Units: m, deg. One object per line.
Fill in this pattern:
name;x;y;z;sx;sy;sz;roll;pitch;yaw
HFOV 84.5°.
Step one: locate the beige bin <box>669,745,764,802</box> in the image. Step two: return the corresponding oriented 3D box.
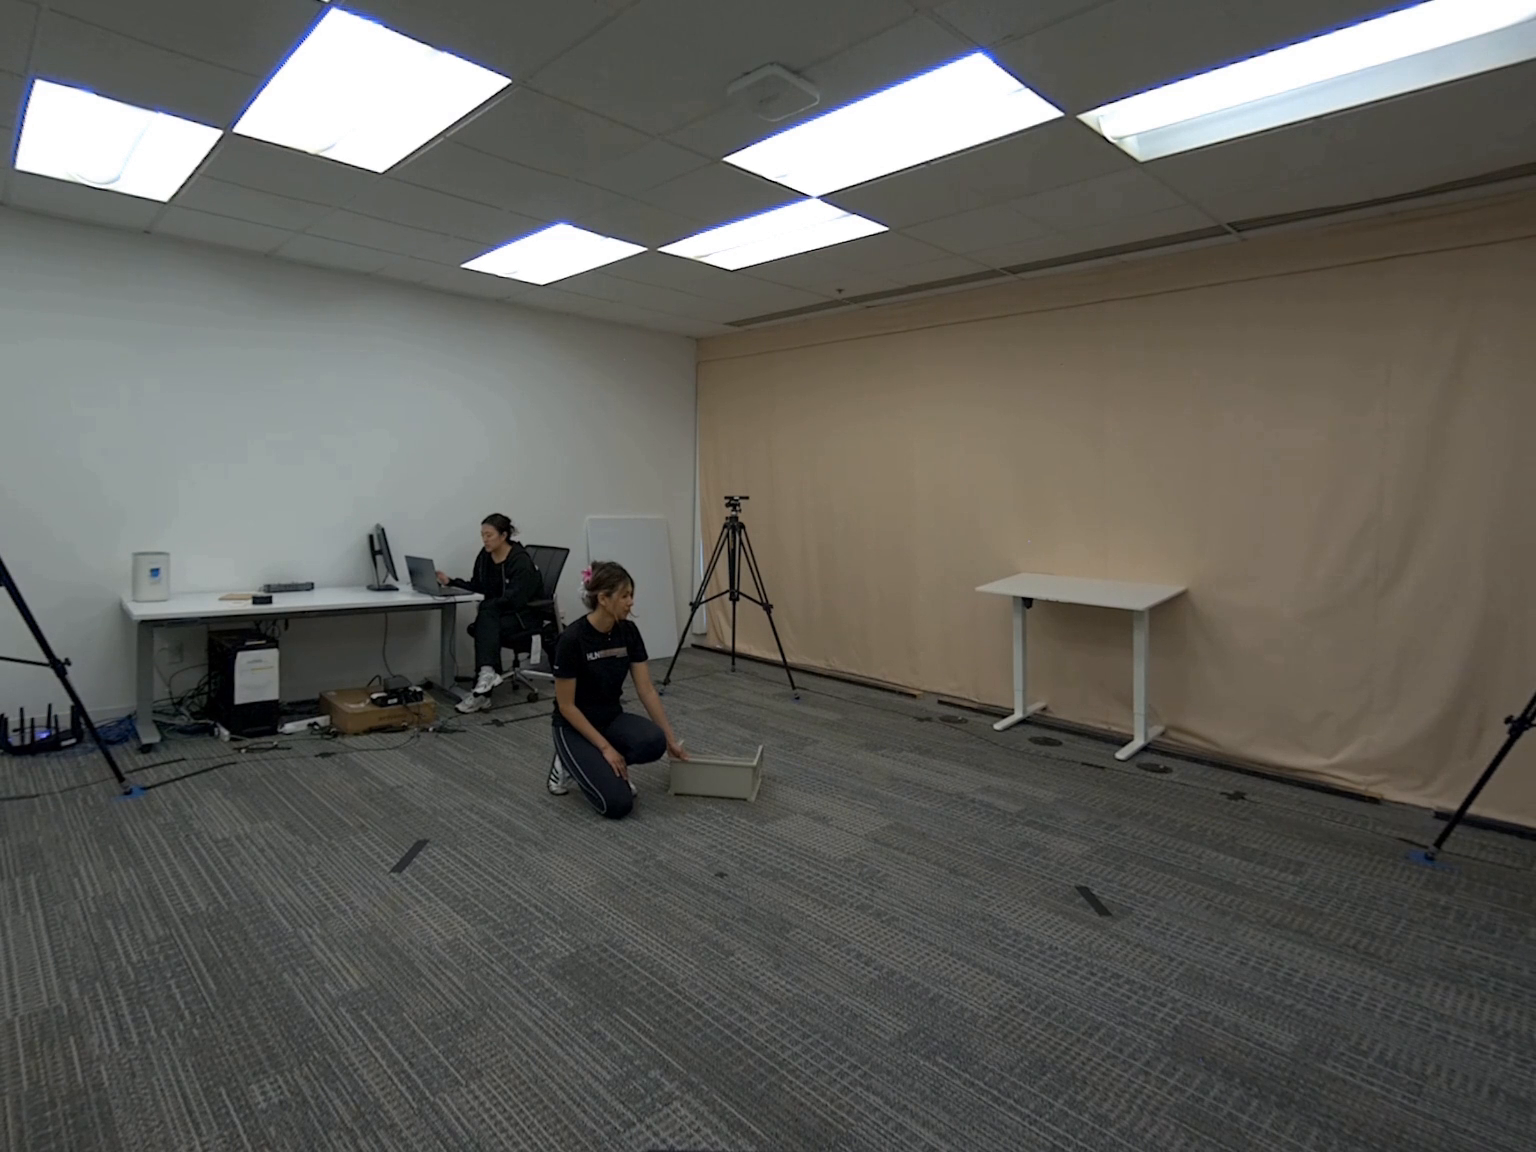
beige bin;-0.258;0.929;4.090;0.425;0.188;0.376;2;6;6
